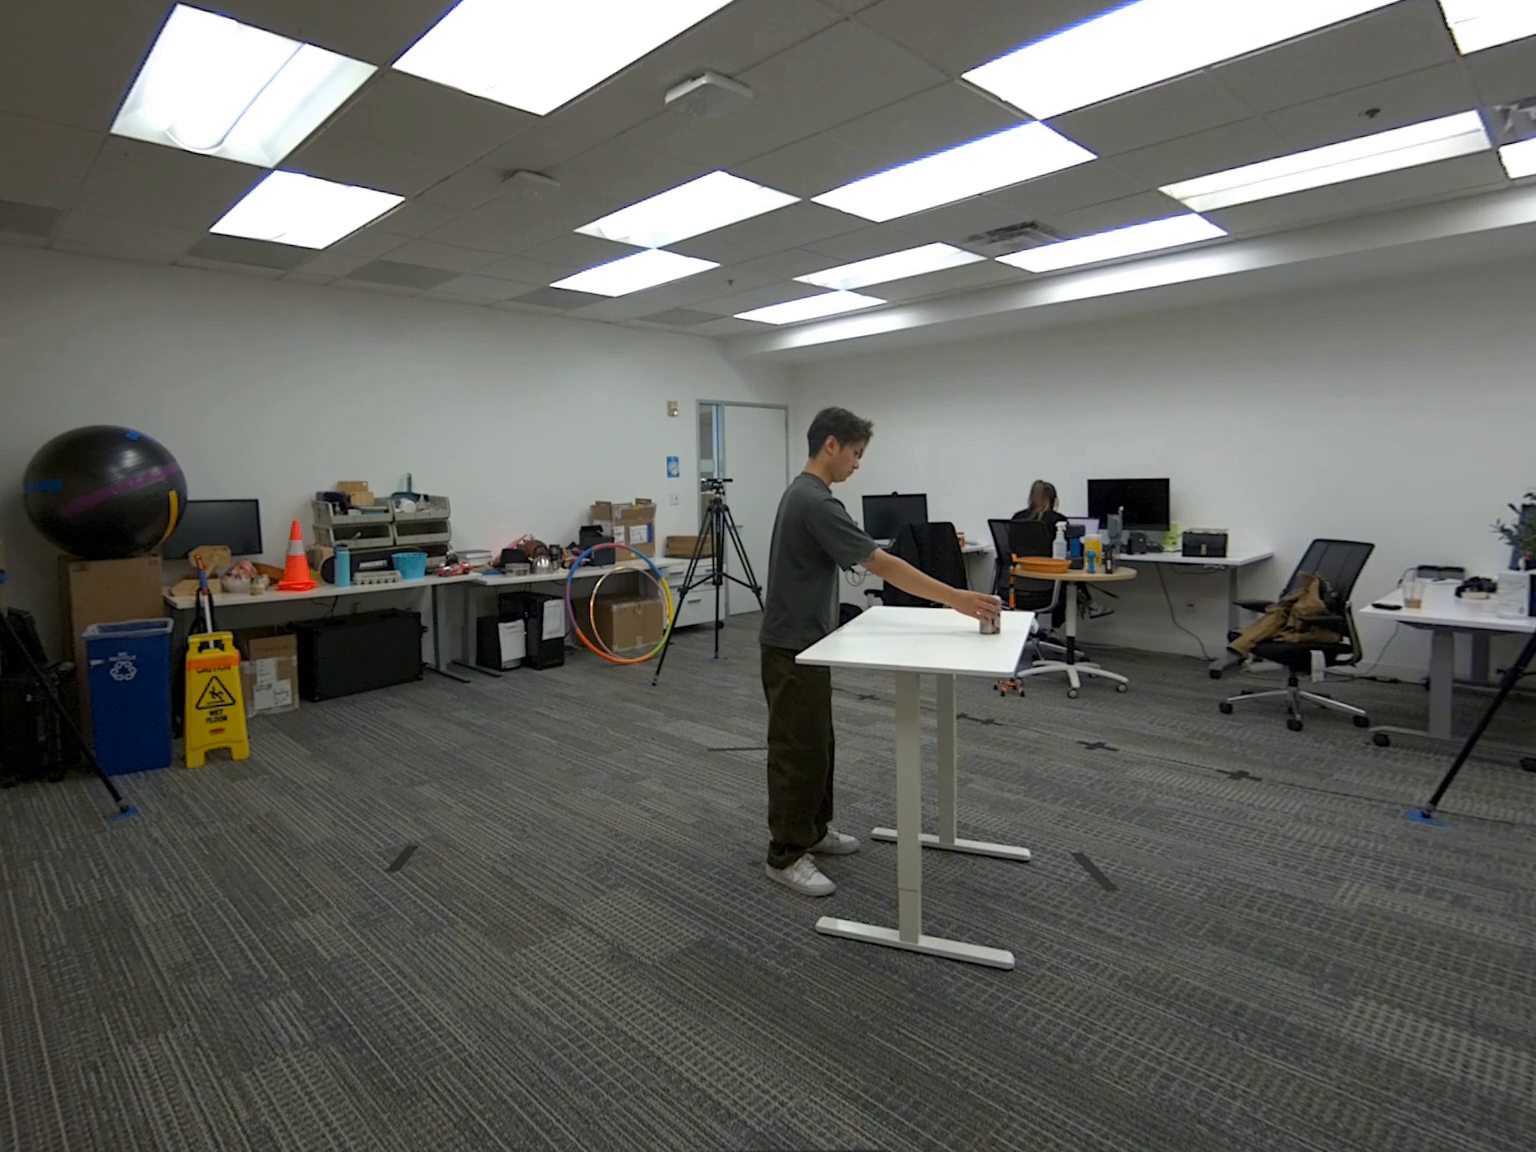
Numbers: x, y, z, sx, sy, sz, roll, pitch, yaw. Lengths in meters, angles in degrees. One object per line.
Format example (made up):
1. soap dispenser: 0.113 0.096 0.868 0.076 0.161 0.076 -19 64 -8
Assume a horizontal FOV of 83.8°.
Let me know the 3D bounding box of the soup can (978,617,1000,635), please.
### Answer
1. soup can: 0.720 0.127 2.767 0.067 0.121 0.067 3 6 -2
